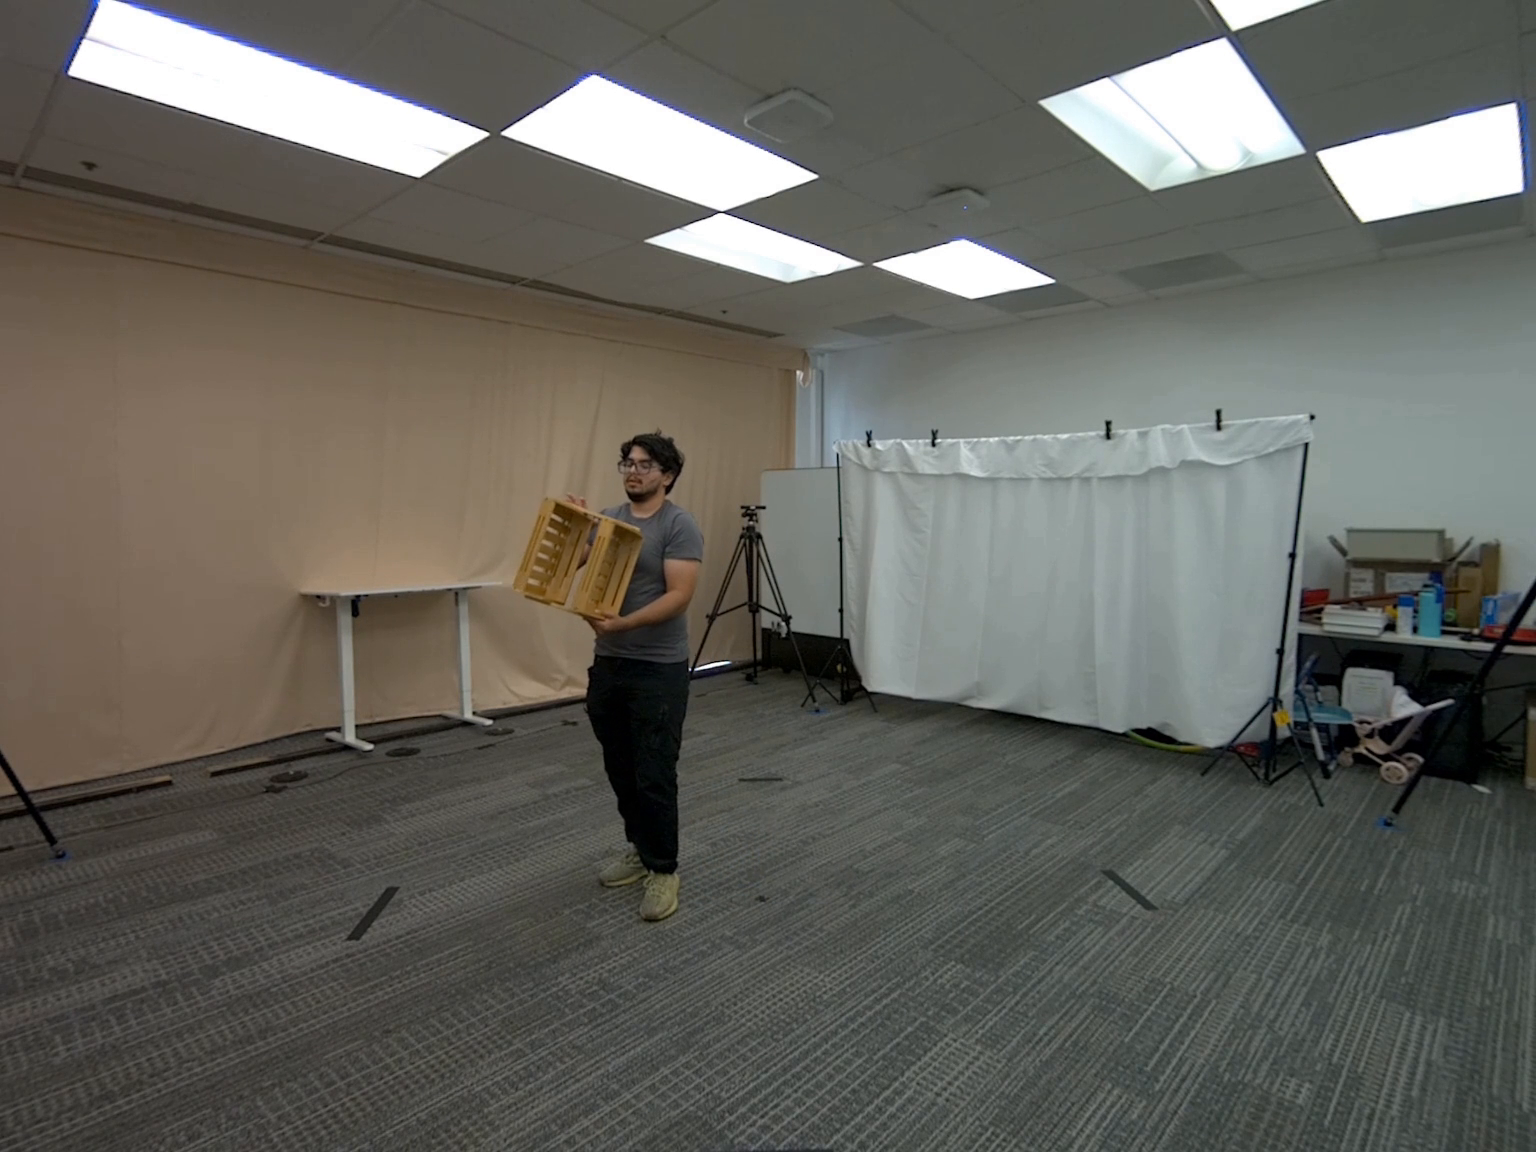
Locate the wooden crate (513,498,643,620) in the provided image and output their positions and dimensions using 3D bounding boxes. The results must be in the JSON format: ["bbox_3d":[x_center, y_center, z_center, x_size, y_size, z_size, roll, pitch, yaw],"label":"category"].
[{"bbox_3d":[-0.582,-0.047,2.647,0.277,0.325,0.298,17,-5,10],"label":"wooden crate"}]
